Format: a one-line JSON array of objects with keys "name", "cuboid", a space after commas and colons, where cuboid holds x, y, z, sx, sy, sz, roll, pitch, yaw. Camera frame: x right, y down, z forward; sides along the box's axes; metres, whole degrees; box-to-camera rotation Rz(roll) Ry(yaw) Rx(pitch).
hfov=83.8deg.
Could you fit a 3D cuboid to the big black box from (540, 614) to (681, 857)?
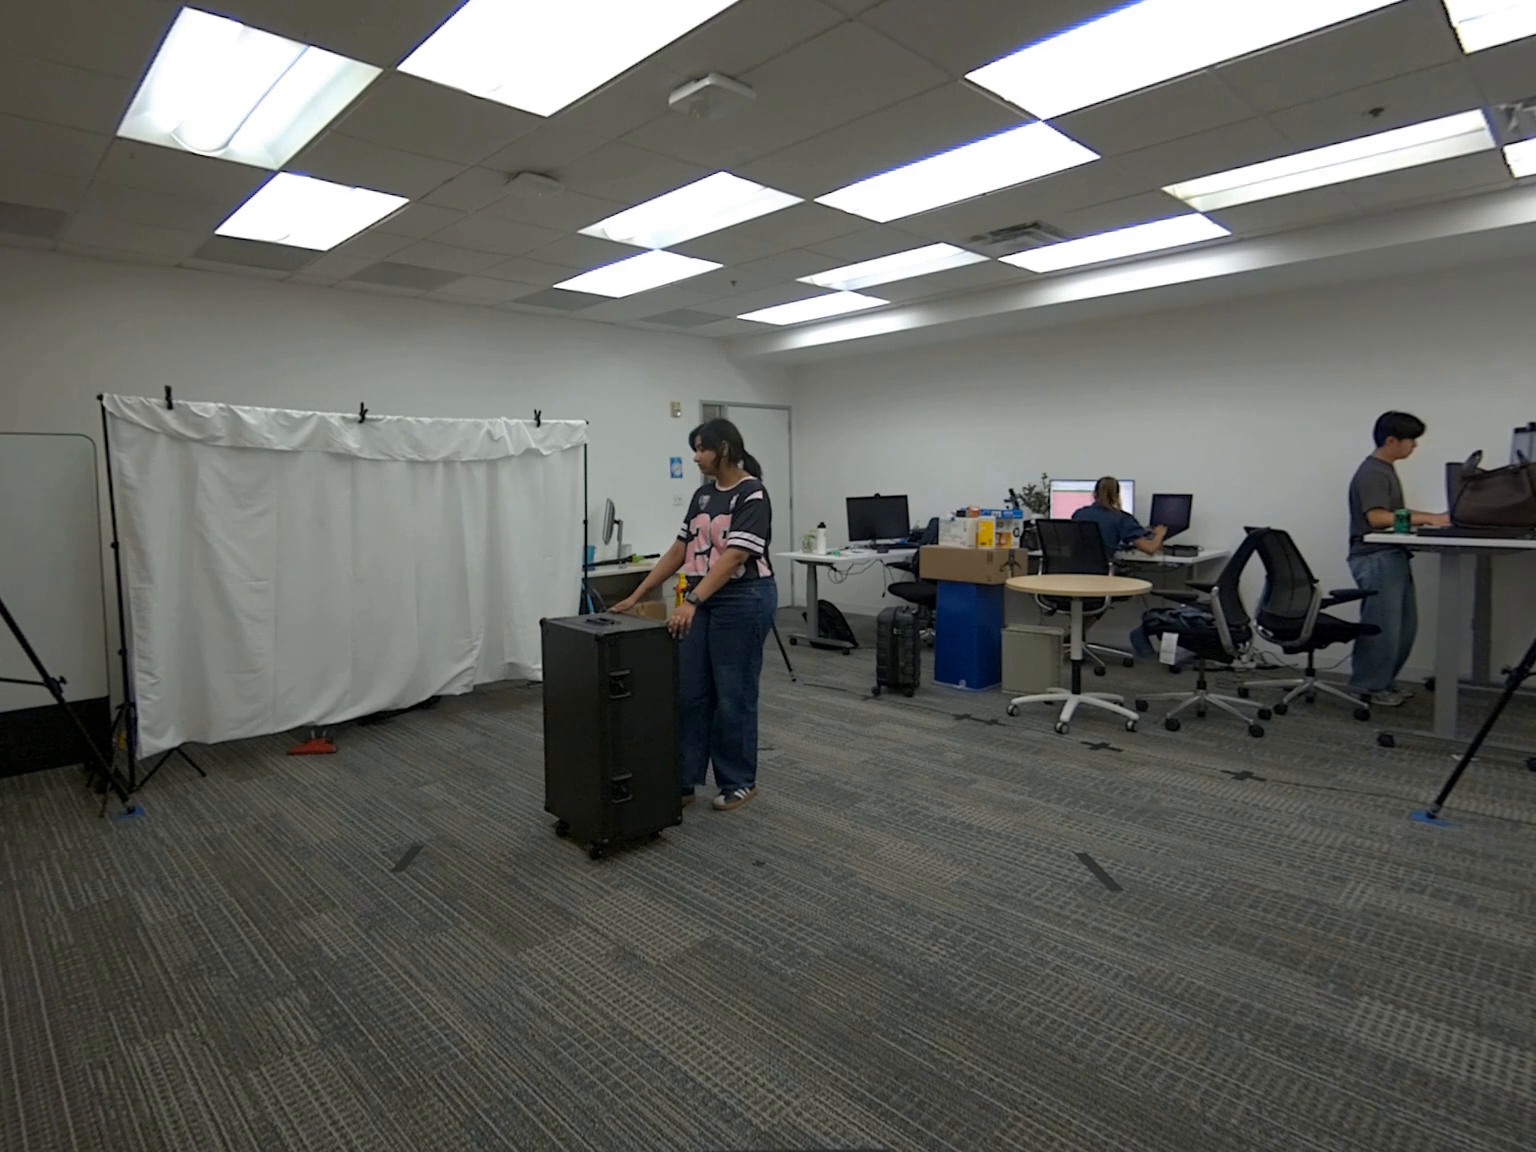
[{"name": "big black box", "cuboid": [-0.629, 0.608, 3.380, 0.375, 0.866, 0.539, -2, 4, -39]}]
